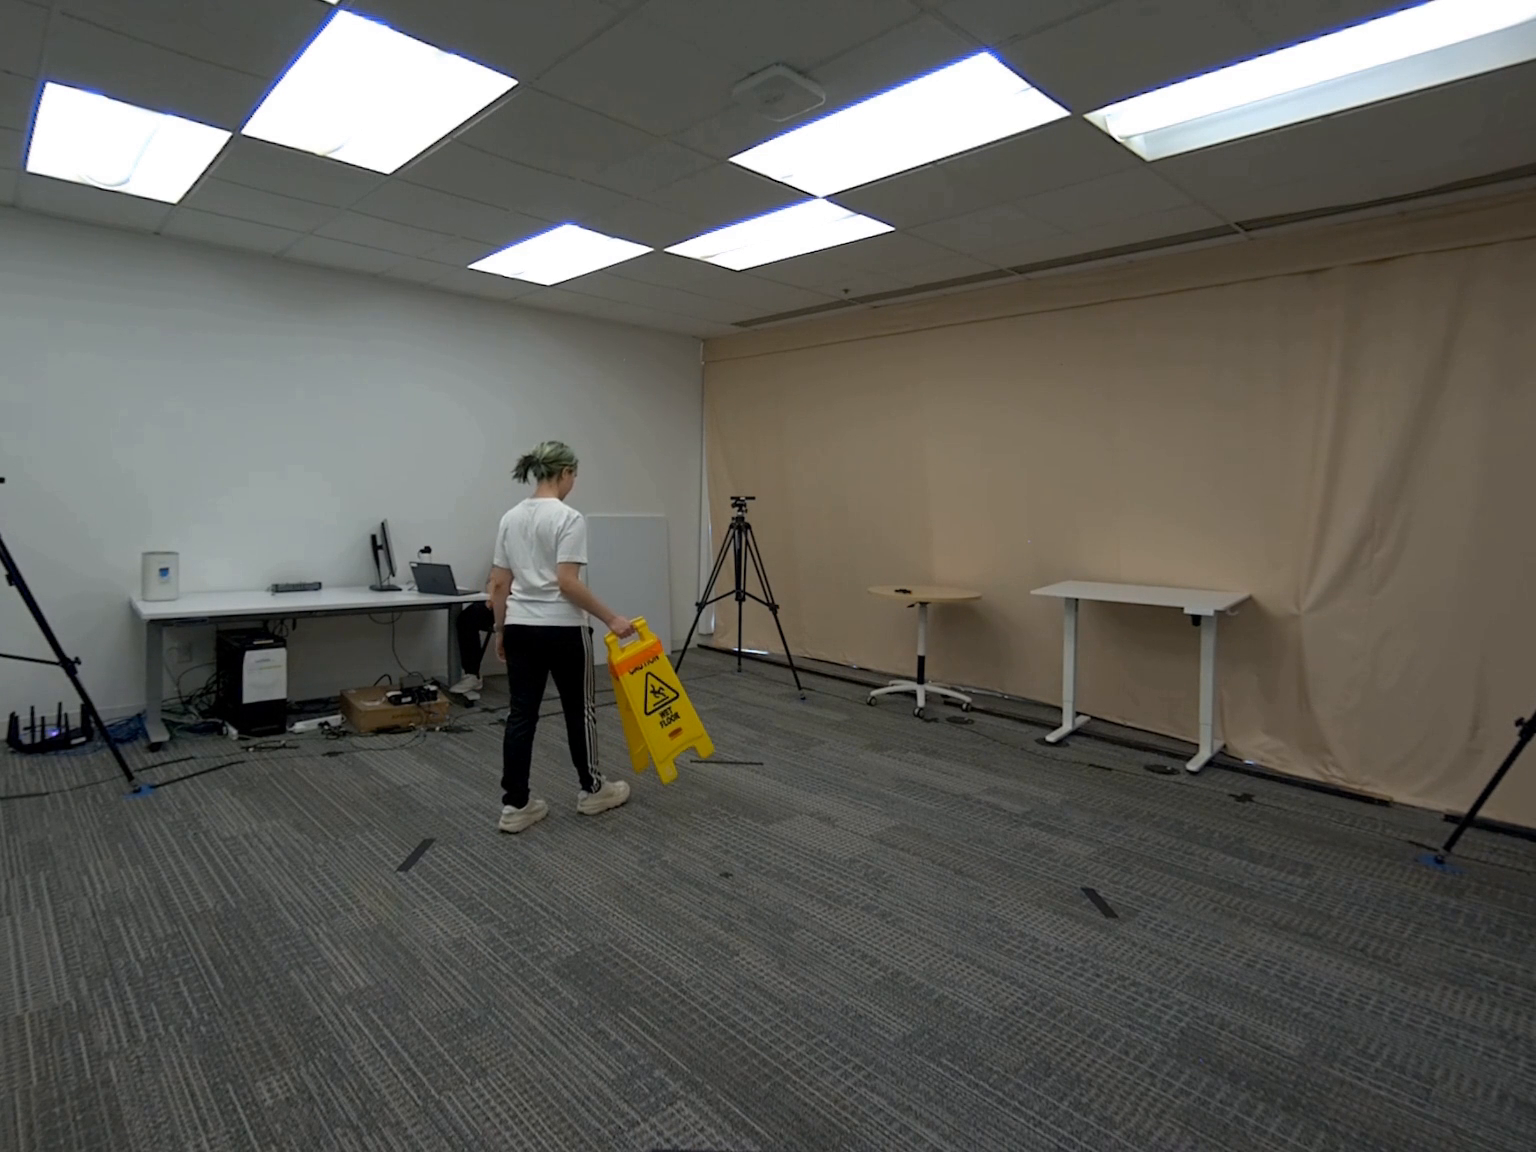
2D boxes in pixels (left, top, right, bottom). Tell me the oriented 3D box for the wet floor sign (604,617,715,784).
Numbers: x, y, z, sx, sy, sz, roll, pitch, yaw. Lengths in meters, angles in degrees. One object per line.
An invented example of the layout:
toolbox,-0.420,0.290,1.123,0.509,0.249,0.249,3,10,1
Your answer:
wet floor sign,-0.514,0.505,3.575,0.279,0.639,0.296,-26,14,-33
